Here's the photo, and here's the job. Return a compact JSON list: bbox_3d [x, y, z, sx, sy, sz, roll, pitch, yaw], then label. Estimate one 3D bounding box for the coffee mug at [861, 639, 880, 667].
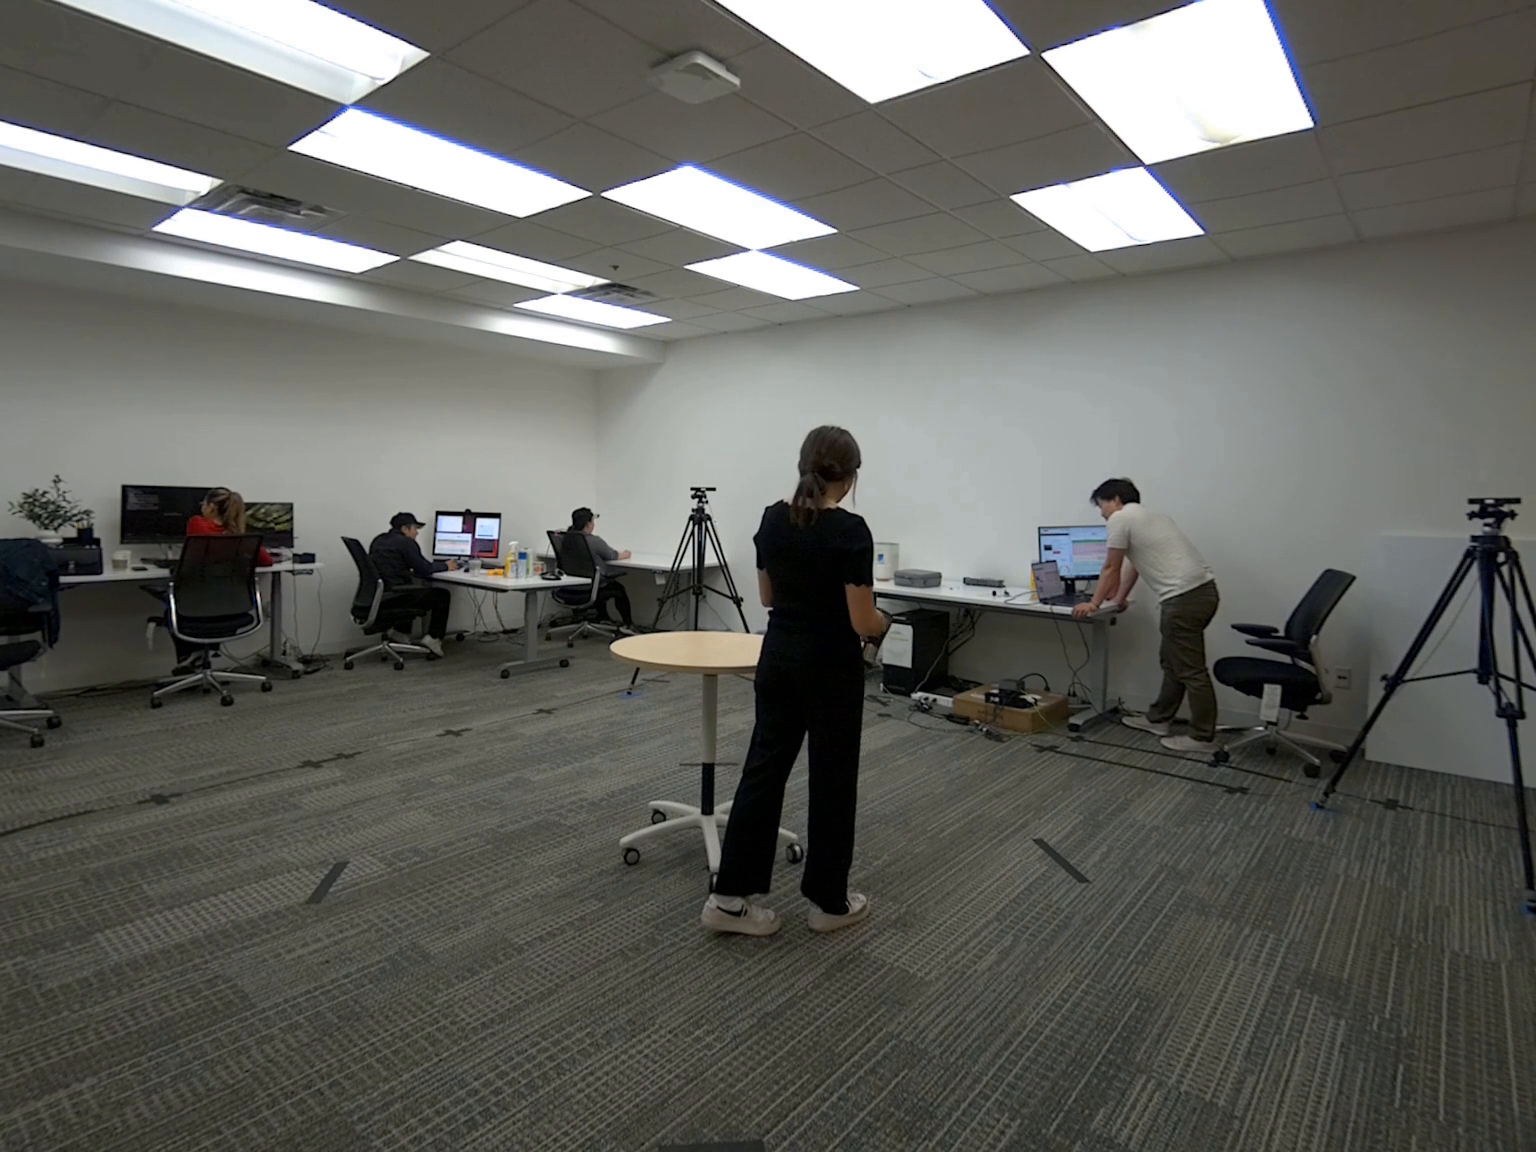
[{"bbox_3d":[0.332,0.225,2.881,0.091,0.204,0.117,7,-29,49],"label":"coffee mug"}]
